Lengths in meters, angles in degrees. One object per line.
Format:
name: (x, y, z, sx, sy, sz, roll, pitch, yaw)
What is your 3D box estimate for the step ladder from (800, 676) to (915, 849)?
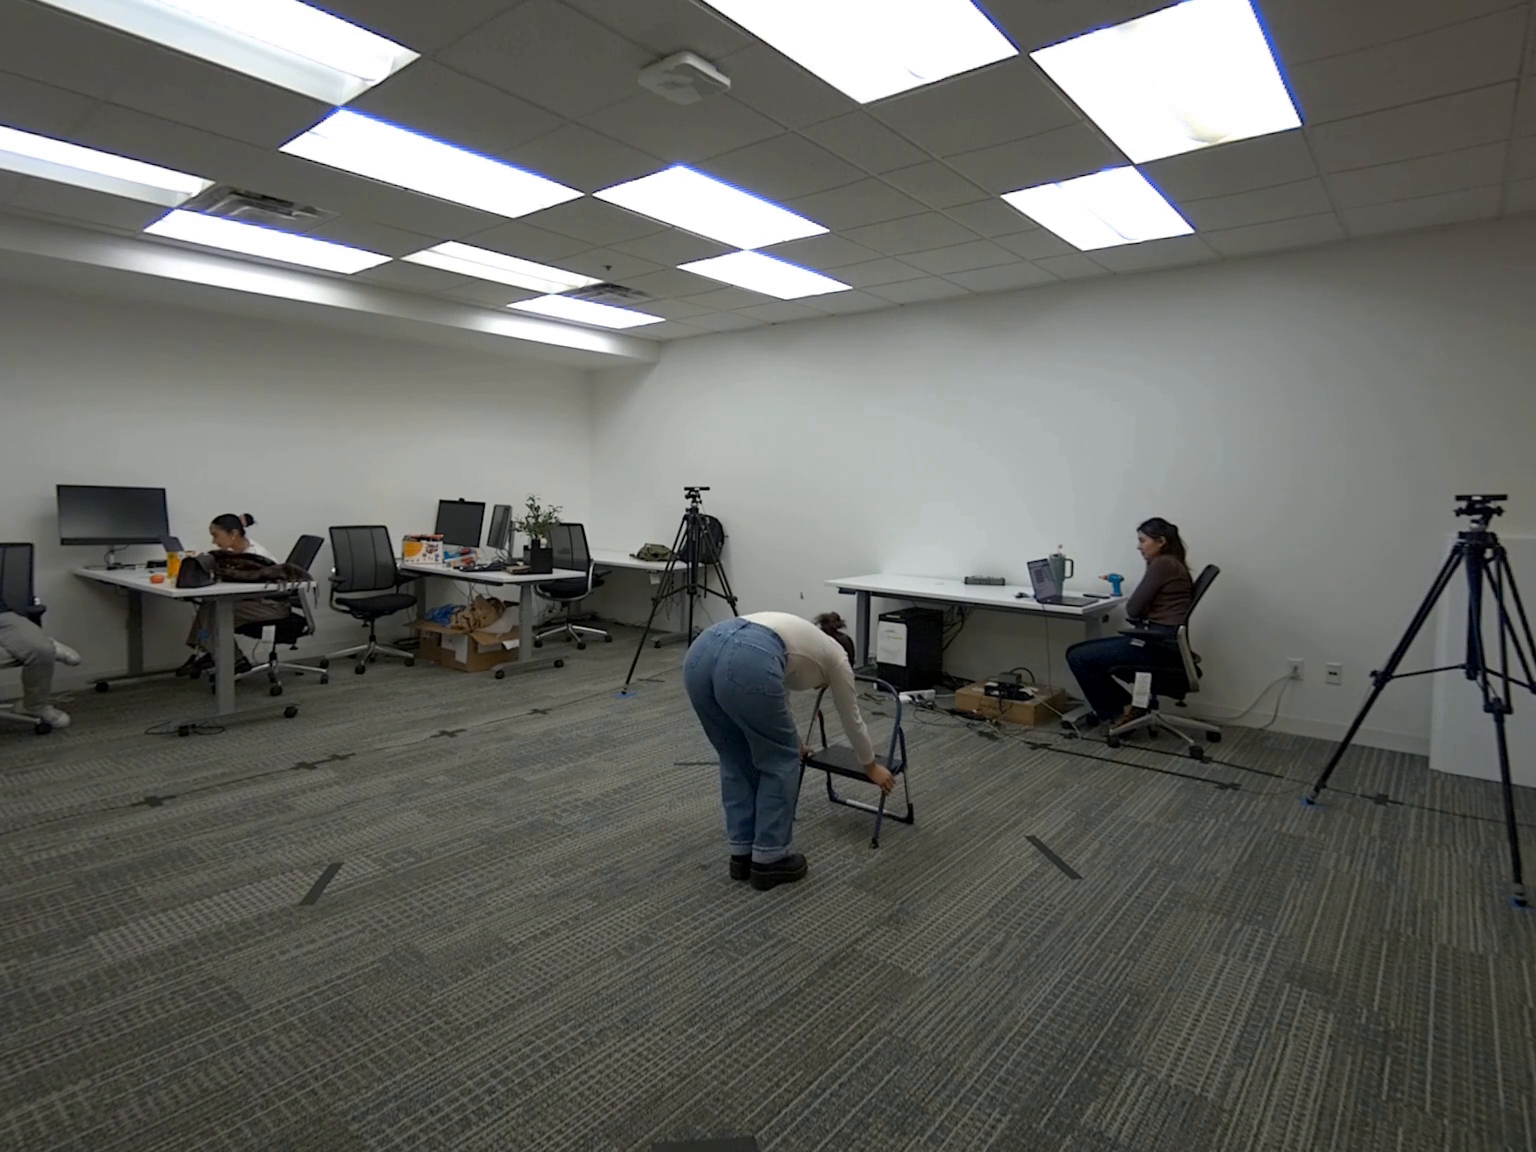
step ladder: (0.350, 0.727, 3.559, 0.445, 0.604, 0.339, 4, 4, 38)
